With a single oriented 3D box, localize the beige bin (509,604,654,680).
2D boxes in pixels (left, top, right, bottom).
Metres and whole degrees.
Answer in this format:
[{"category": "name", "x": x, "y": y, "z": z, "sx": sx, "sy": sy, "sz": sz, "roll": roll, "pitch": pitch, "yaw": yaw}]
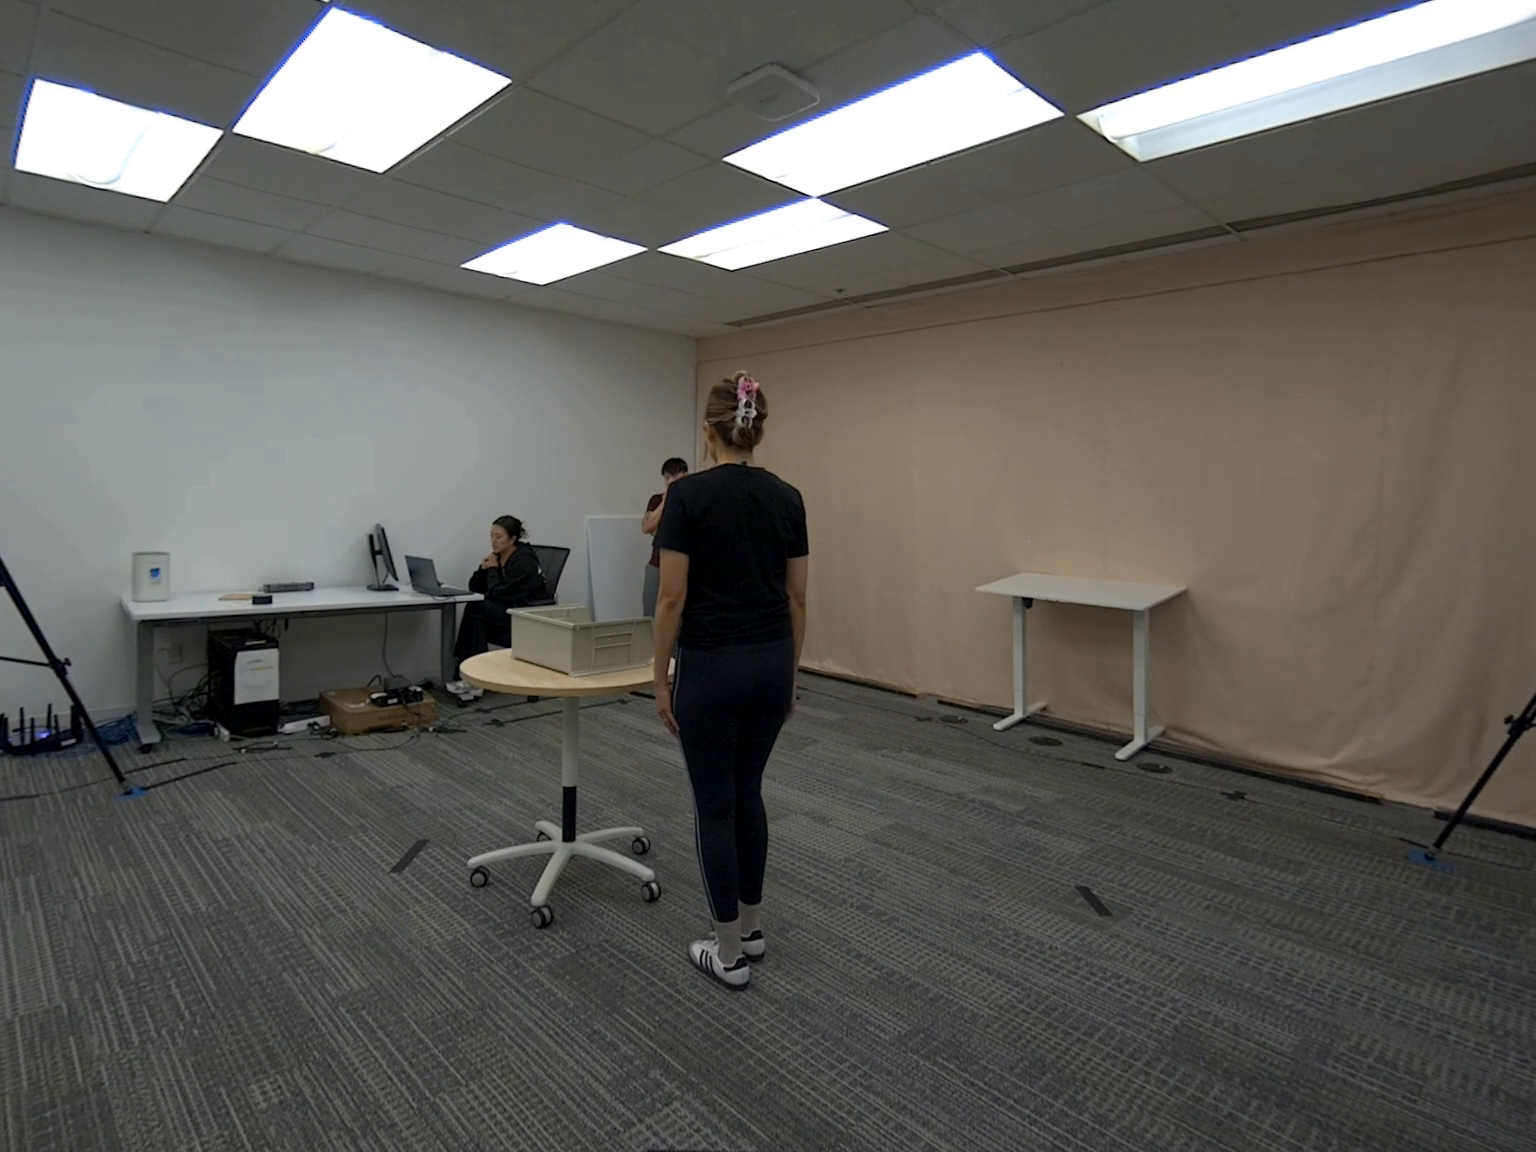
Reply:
[{"category": "beige bin", "x": -0.675, "y": 0.225, "z": 3.043, "sx": 0.433, "sy": 0.188, "sz": 0.369, "roll": 7, "pitch": 8, "yaw": 44}]
